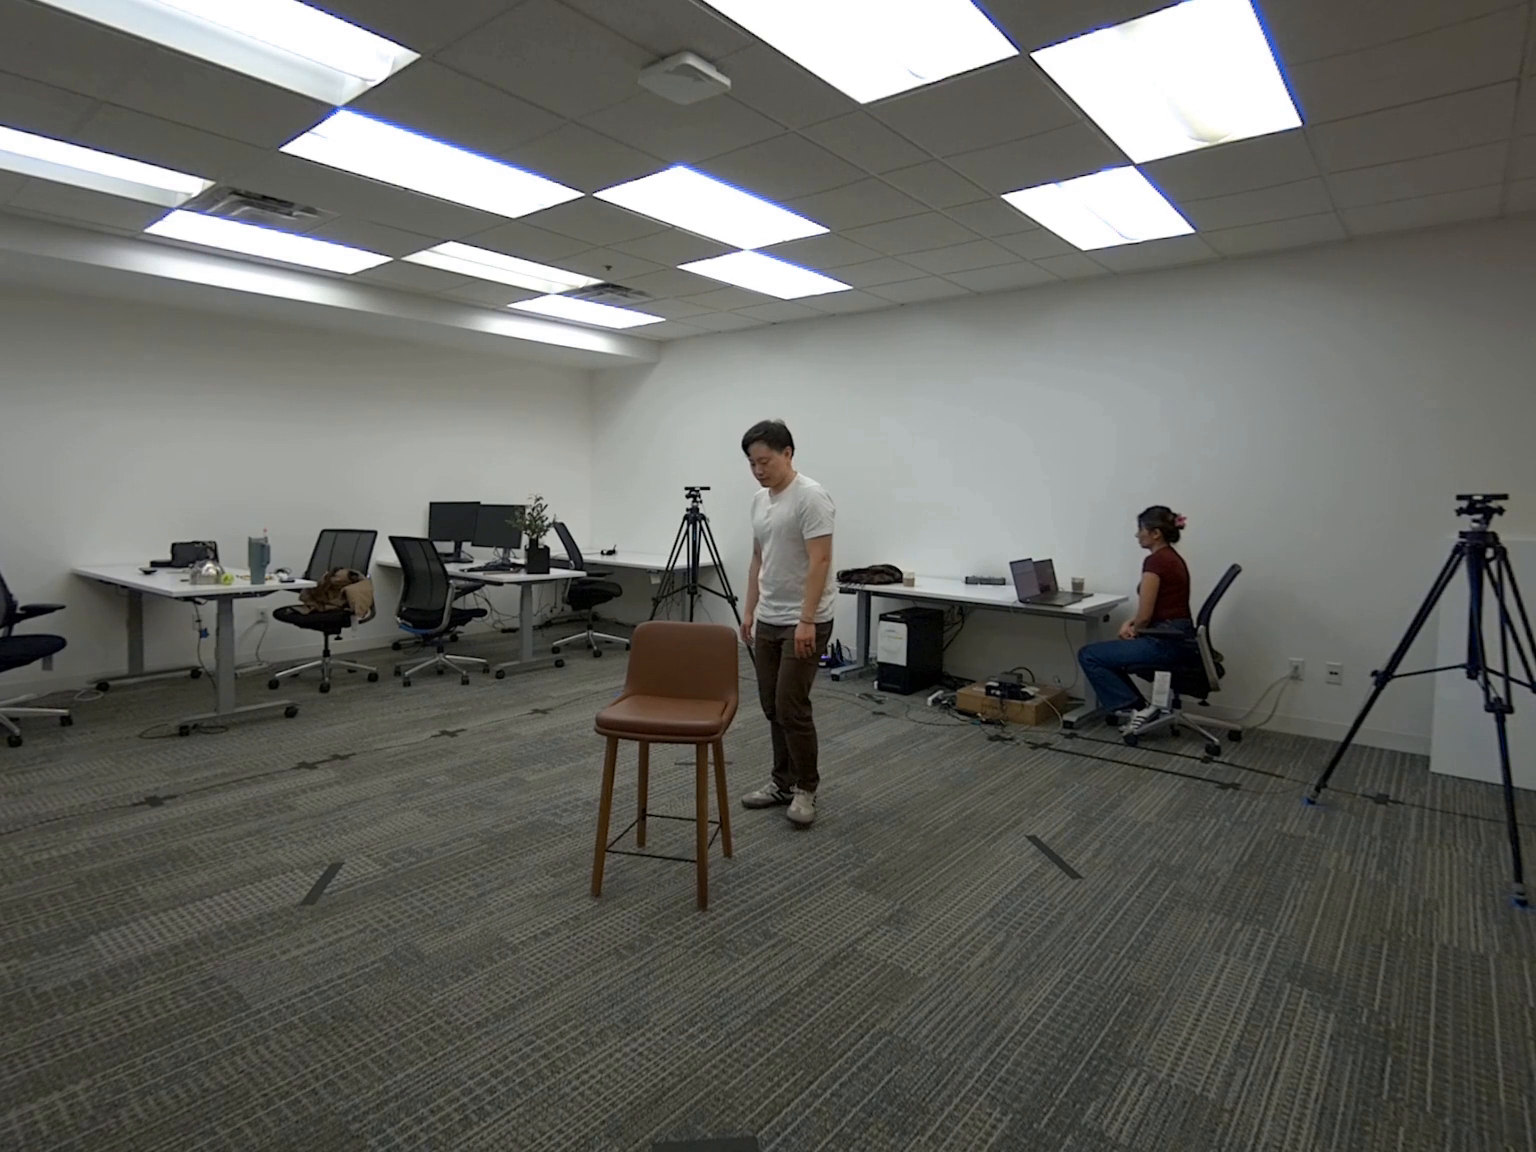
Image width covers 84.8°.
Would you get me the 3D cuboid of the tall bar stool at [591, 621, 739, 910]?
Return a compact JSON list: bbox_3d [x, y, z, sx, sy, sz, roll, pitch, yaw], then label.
[{"bbox_3d":[-0.362,0.636,3.036,0.464,0.889,0.461,2,2,14],"label":"tall bar stool"}]
